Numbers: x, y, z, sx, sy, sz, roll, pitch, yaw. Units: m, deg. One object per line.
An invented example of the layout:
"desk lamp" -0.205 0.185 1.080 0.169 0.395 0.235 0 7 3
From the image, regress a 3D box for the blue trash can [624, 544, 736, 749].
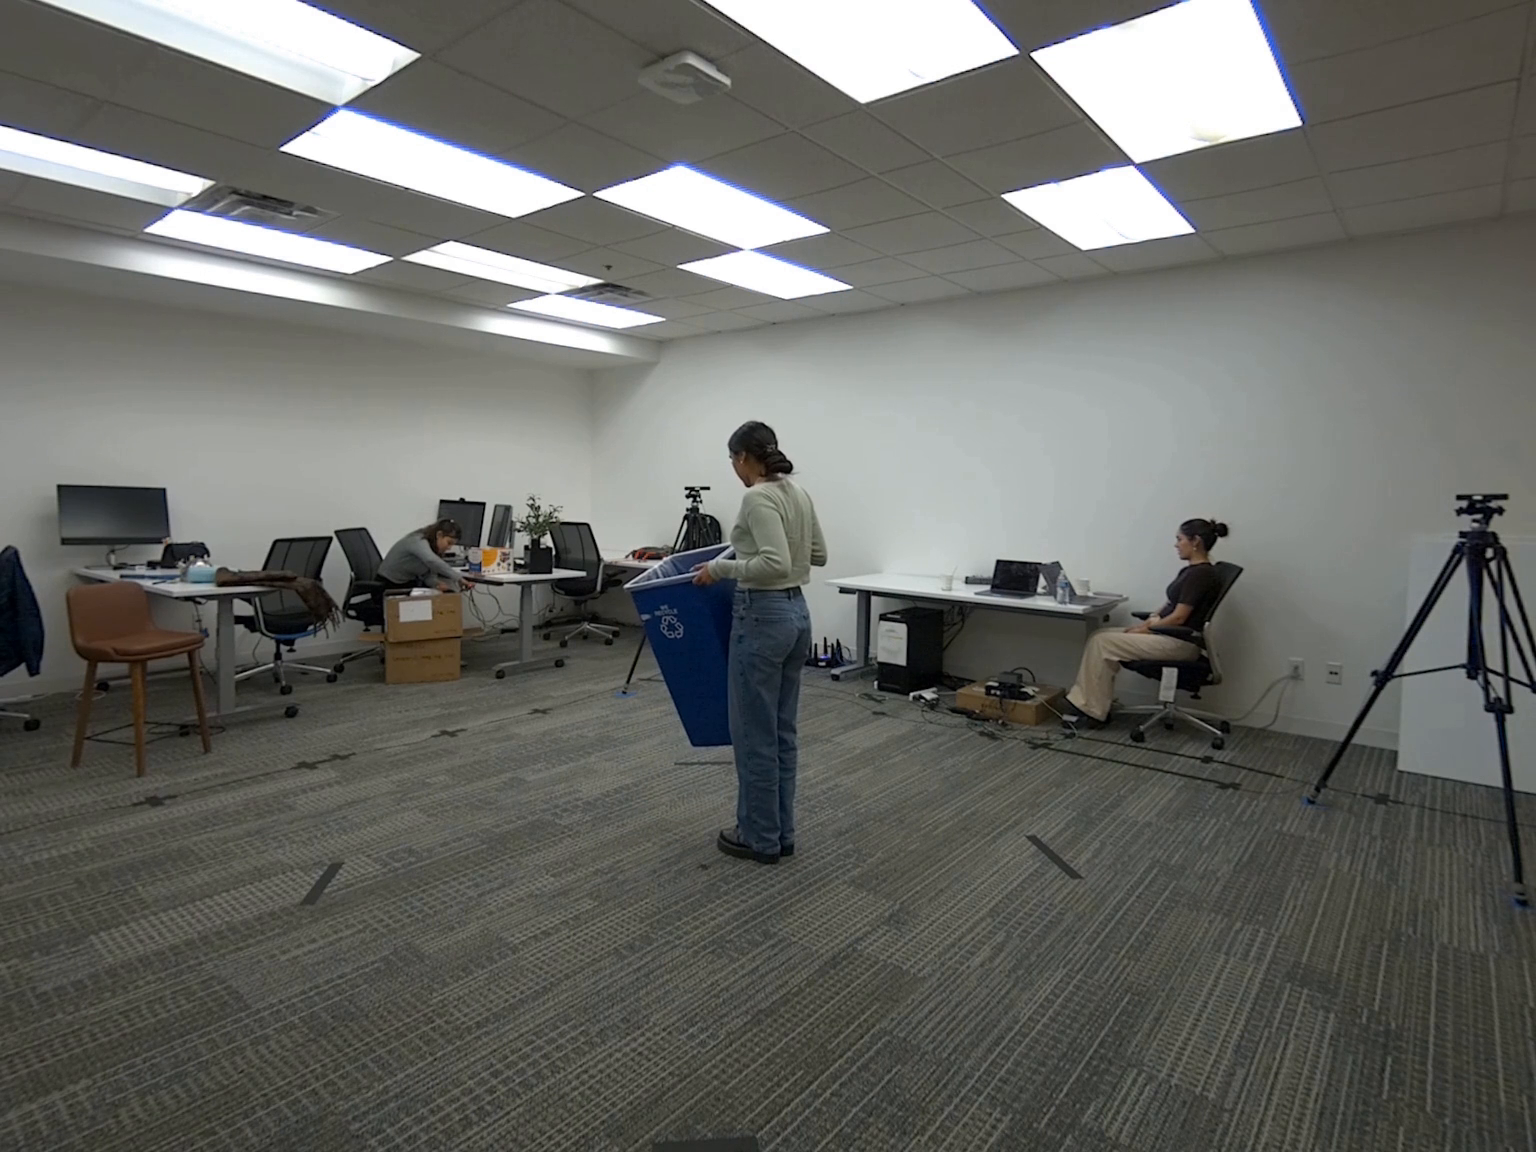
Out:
"blue trash can" -0.238 0.277 3.389 0.383 0.704 0.375 -11 14 31
